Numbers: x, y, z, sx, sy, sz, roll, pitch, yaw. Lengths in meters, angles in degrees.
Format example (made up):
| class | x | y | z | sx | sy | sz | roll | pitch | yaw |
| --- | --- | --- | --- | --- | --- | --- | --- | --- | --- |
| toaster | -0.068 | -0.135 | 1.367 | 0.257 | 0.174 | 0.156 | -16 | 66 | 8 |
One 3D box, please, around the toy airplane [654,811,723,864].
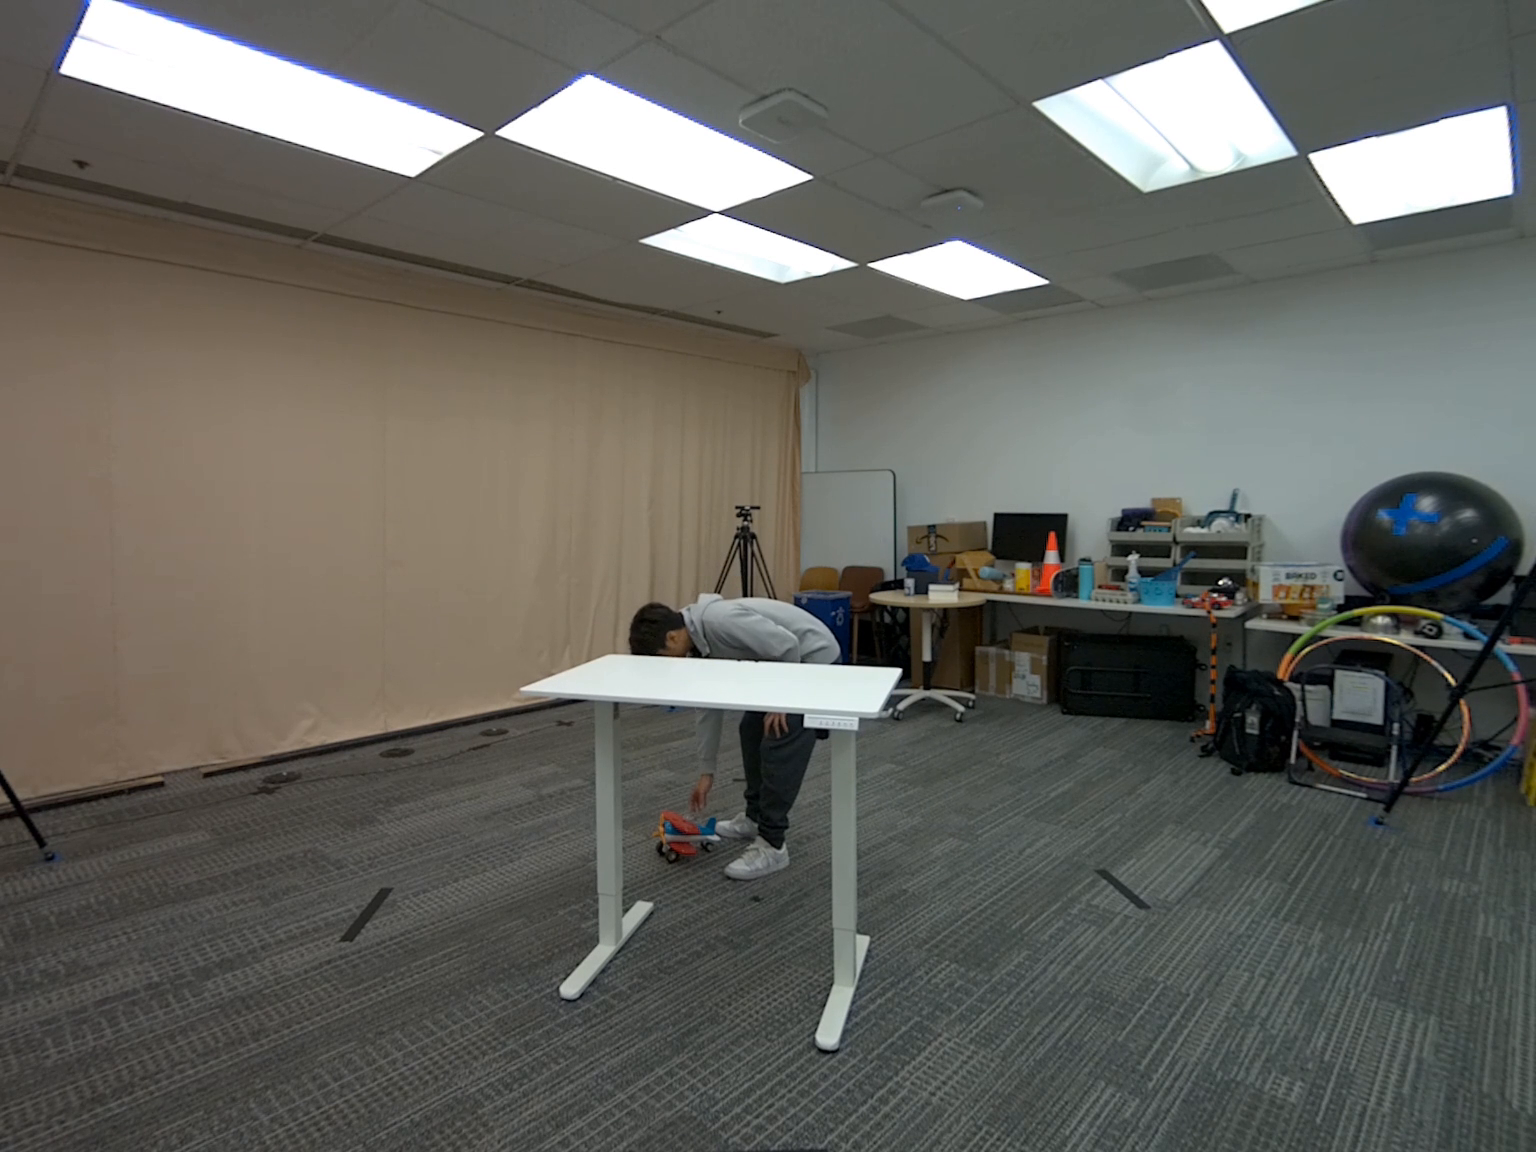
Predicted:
| class | x | y | z | sx | sy | sz | roll | pitch | yaw |
| --- | --- | --- | --- | --- | --- | --- | --- | --- | --- |
| toy airplane | -0.337 | 1.038 | 3.381 | 0.258 | 0.156 | 0.252 | 1 | 5 | 32 |
